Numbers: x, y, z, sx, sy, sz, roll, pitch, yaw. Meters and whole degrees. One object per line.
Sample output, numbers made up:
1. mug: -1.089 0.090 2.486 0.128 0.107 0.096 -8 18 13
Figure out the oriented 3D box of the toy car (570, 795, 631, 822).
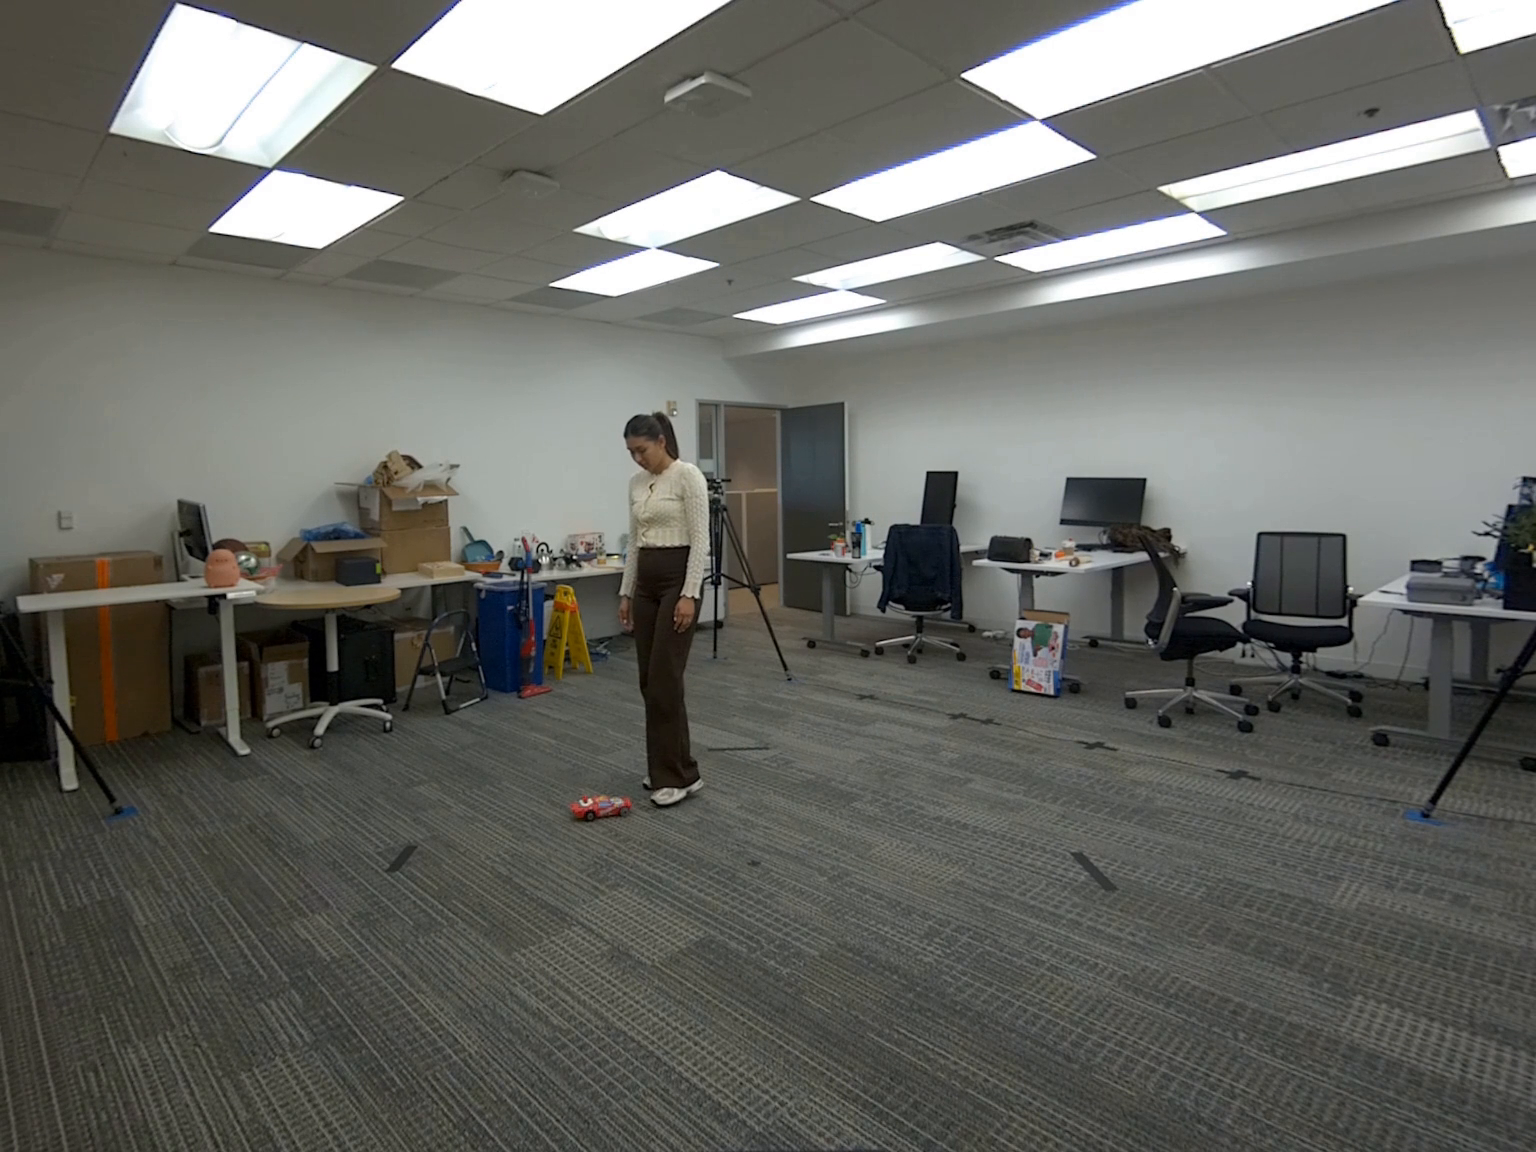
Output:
1. toy car: -0.707 0.972 3.583 0.249 0.083 0.133 9 1 -20
